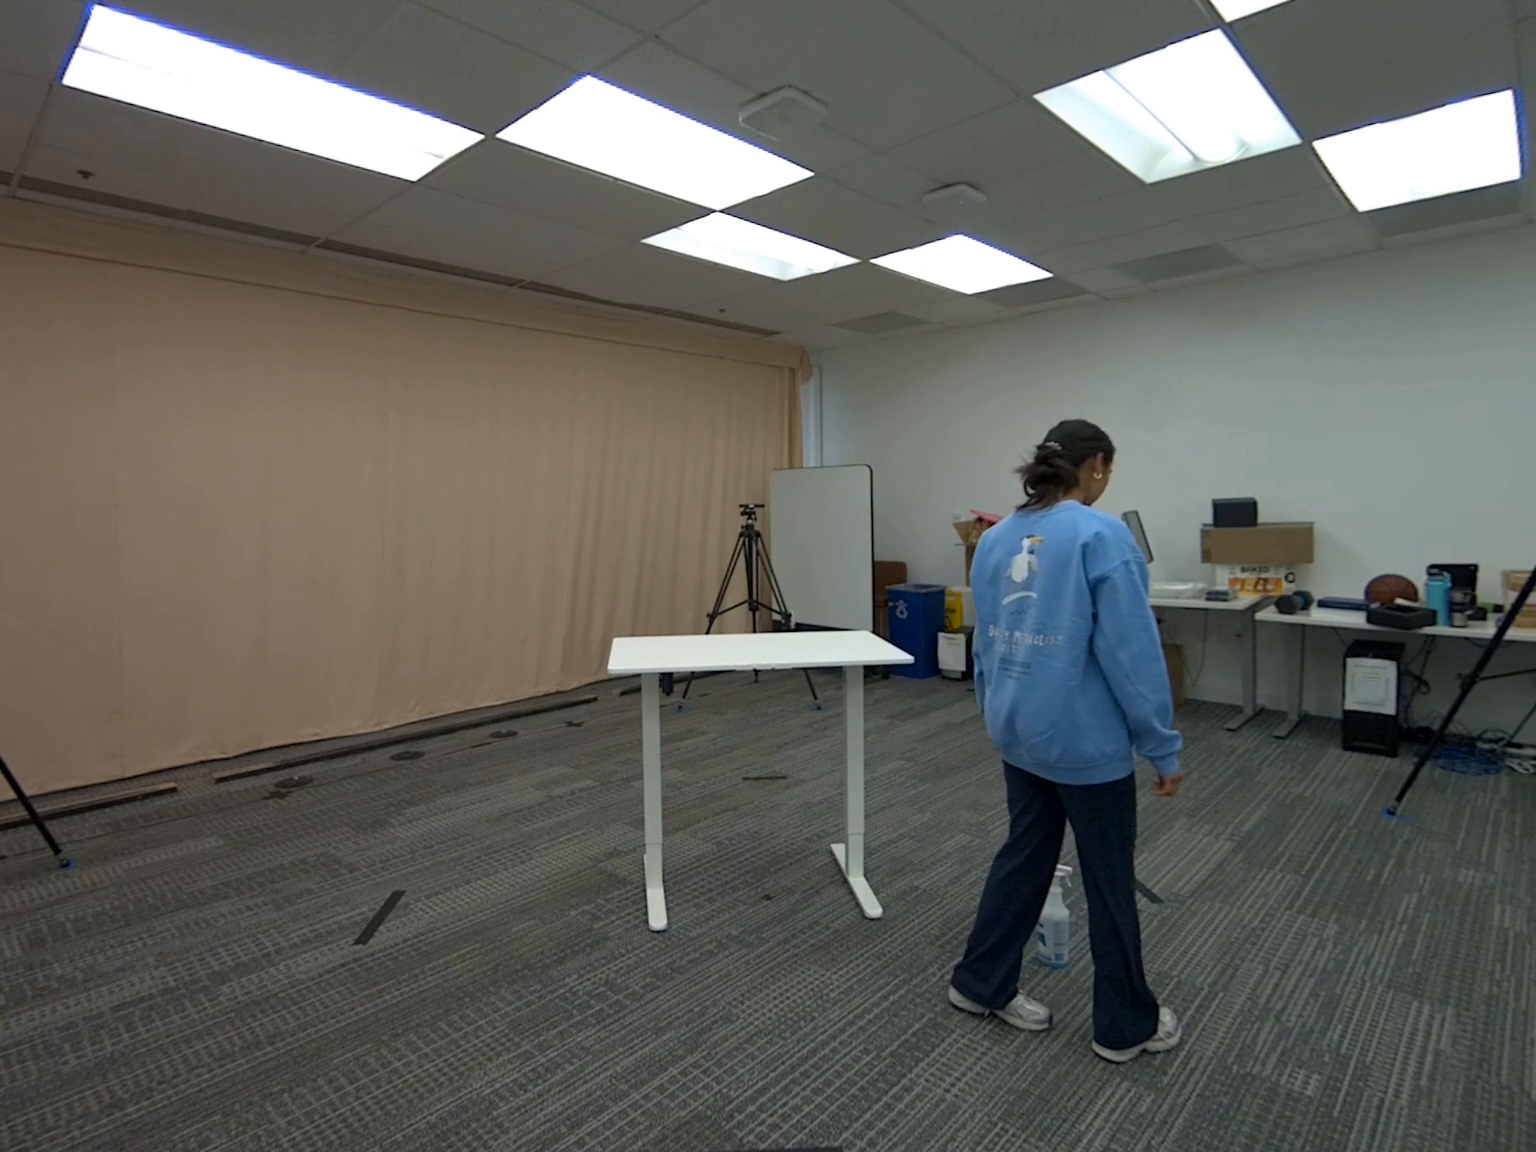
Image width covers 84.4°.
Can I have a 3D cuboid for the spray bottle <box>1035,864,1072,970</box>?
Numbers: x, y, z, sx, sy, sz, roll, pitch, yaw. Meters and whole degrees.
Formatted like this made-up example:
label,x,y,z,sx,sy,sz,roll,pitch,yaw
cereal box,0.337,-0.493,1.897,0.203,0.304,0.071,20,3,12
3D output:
label,x,y,z,sx,sy,sz,roll,pitch,yaw
spray bottle,0.873,1.020,2.534,0.085,0.297,0.092,1,0,-29
